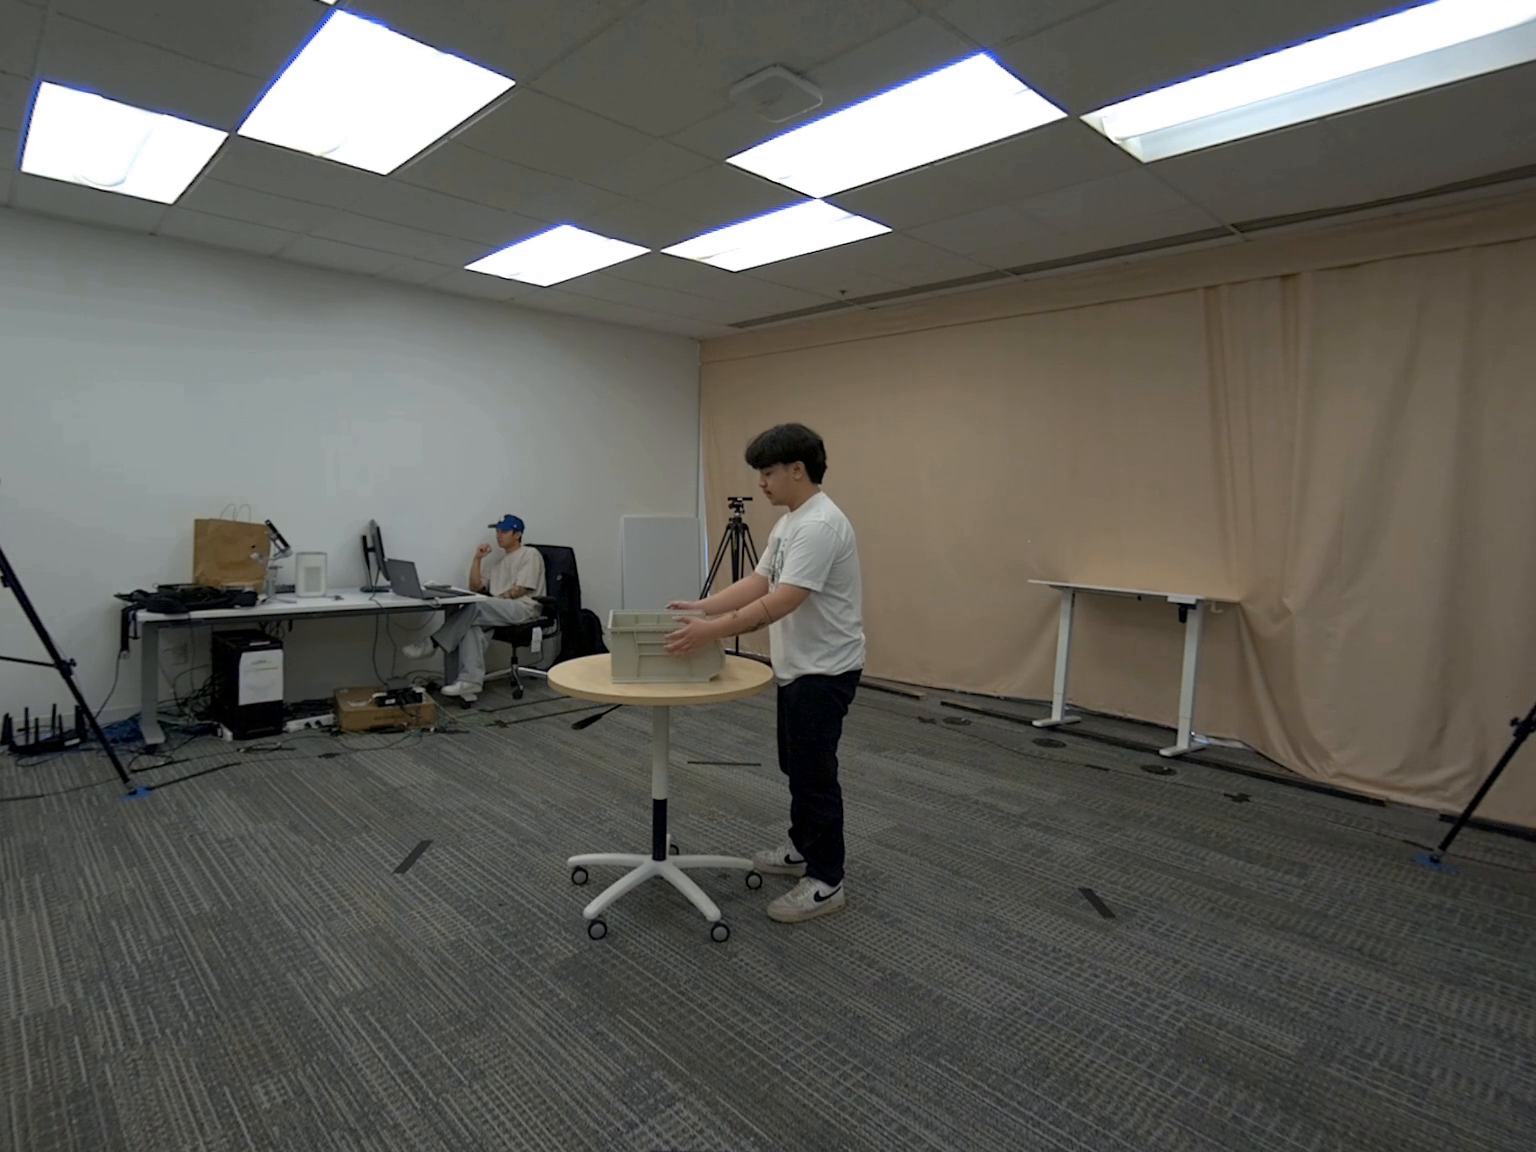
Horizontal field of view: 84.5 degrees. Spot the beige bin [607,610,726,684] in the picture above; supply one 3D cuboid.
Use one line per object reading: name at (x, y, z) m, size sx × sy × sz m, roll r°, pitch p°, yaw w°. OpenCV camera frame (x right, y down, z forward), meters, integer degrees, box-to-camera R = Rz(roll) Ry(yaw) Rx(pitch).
beige bin at (-0.361, 0.231, 2.898) m, size 0.374 × 0.188 × 0.427 m, roll -2°, pitch 5°, yaw -11°
